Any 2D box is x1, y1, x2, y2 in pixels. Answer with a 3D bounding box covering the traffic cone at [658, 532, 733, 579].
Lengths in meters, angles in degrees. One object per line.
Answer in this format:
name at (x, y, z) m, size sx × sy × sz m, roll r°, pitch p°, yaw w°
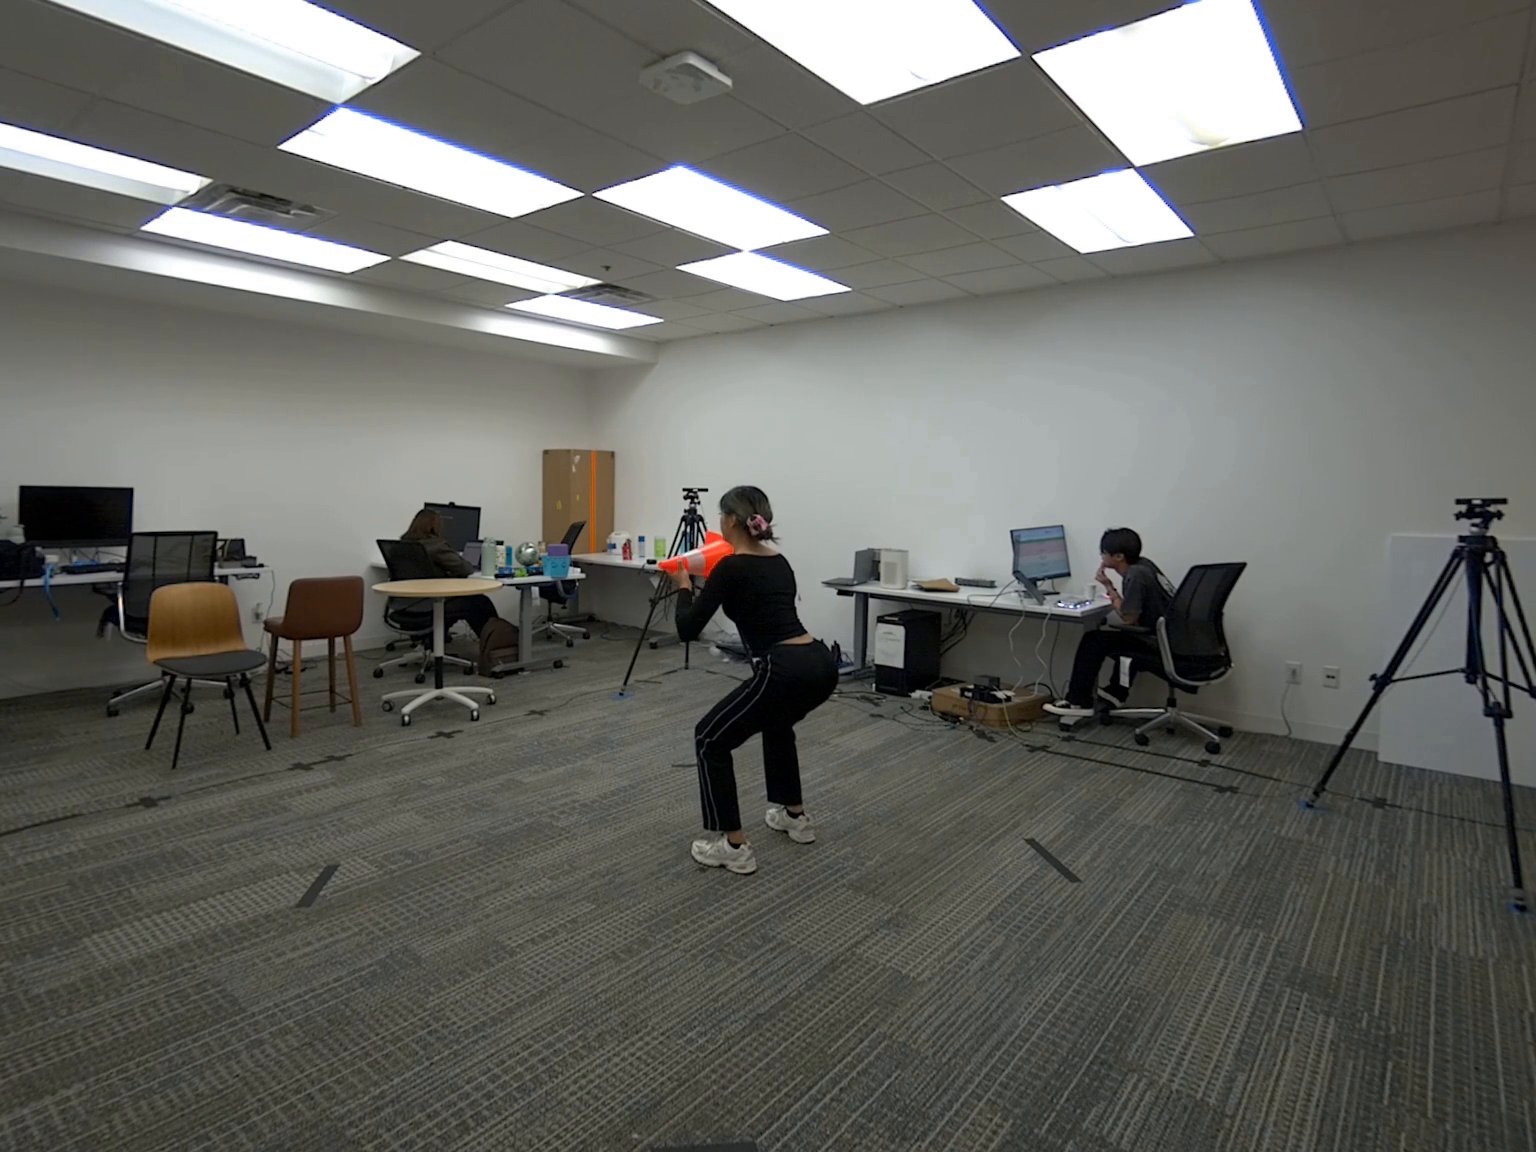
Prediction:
traffic cone at (-0.316, -0.060, 3.478) m, size 0.211 × 0.203 × 0.373 m, roll 18°, pitch 16°, yaw 35°
